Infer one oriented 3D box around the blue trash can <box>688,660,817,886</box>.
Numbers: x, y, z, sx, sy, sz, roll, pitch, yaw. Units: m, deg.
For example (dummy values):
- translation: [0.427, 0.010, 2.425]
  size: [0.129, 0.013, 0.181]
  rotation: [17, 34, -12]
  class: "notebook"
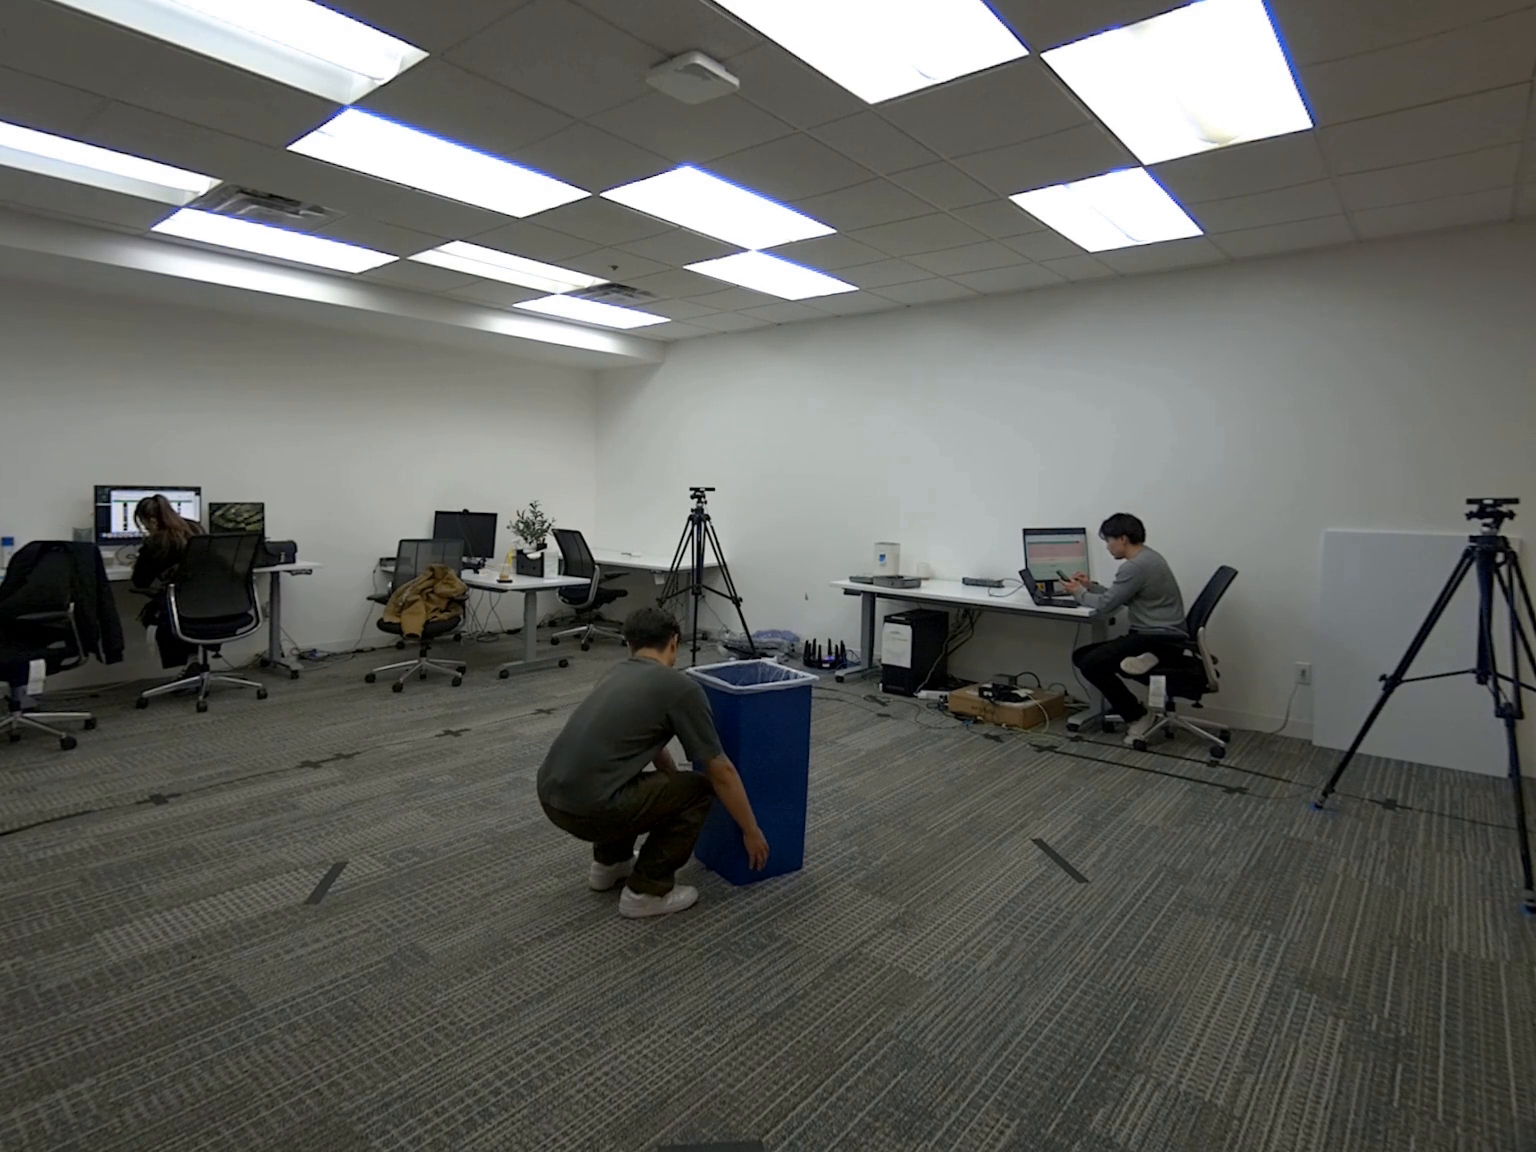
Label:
- translation: [-0.086, 0.704, 3.155]
  size: [0.367, 0.711, 0.386]
  rotation: [-2, 5, -35]
  class: "blue trash can"
